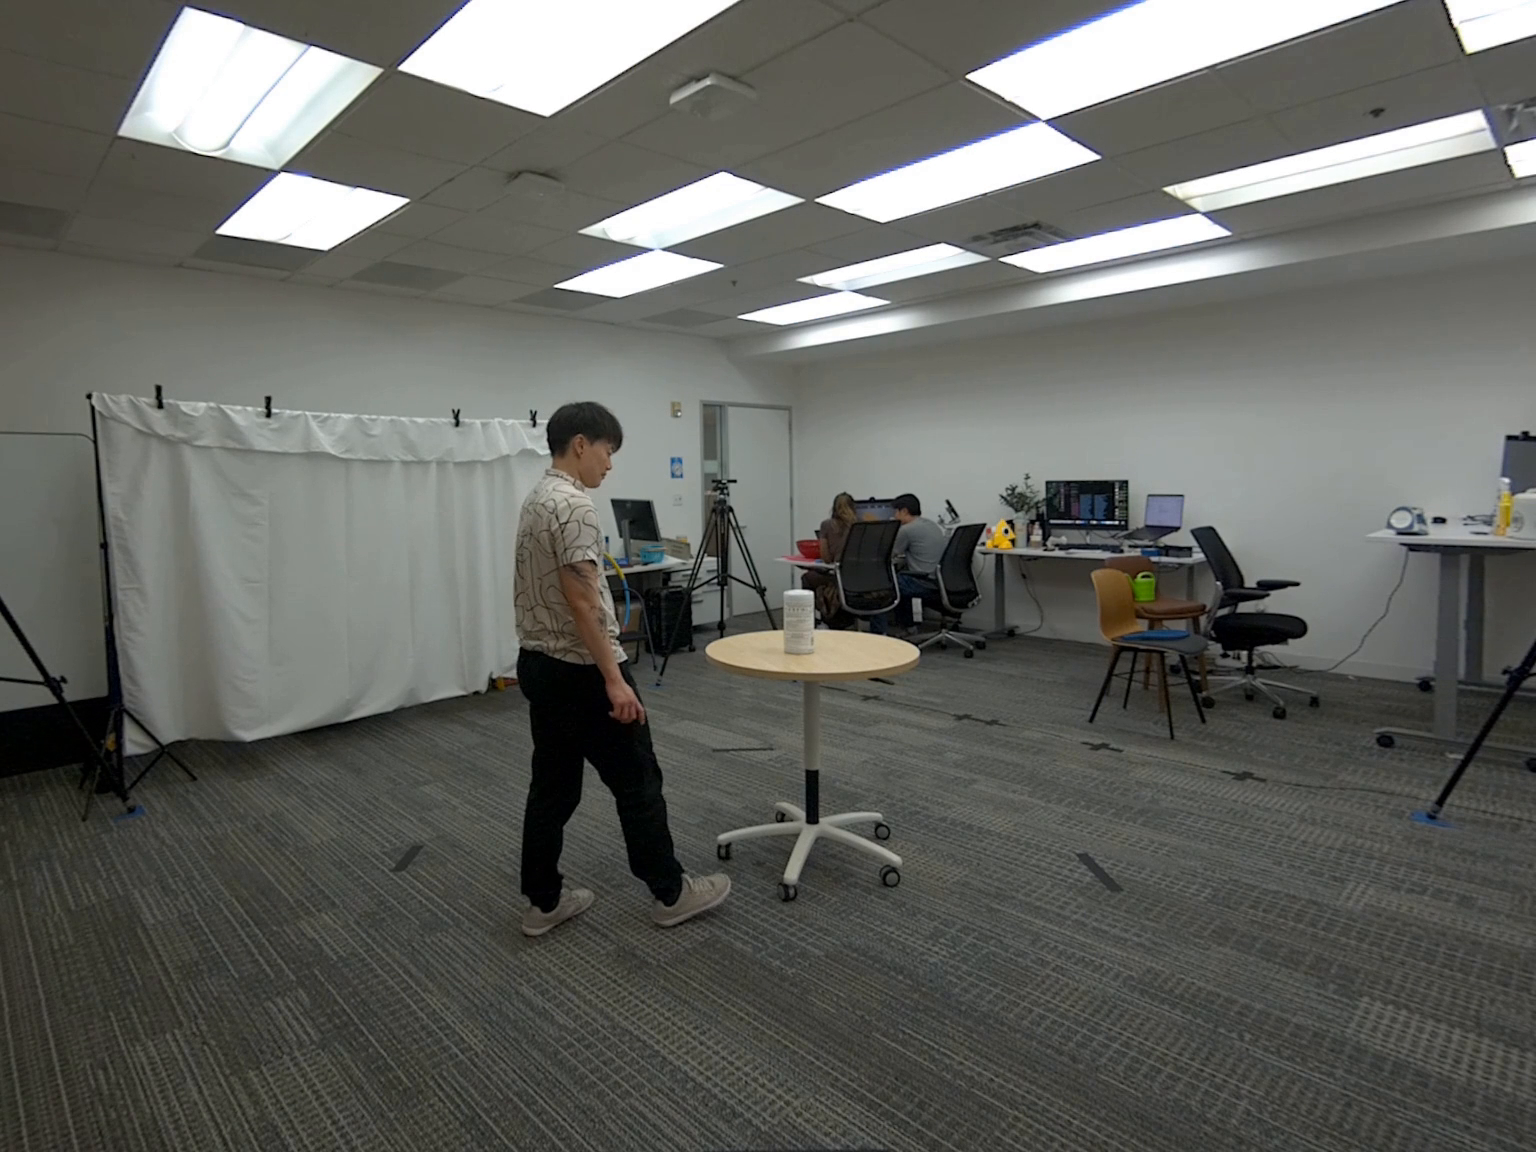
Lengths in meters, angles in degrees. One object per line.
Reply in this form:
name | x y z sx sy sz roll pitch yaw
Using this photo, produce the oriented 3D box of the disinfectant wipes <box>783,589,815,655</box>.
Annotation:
disinfectant wipes | 0.117 0.166 3.030 0.118 0.217 0.118 -1 3 -2
